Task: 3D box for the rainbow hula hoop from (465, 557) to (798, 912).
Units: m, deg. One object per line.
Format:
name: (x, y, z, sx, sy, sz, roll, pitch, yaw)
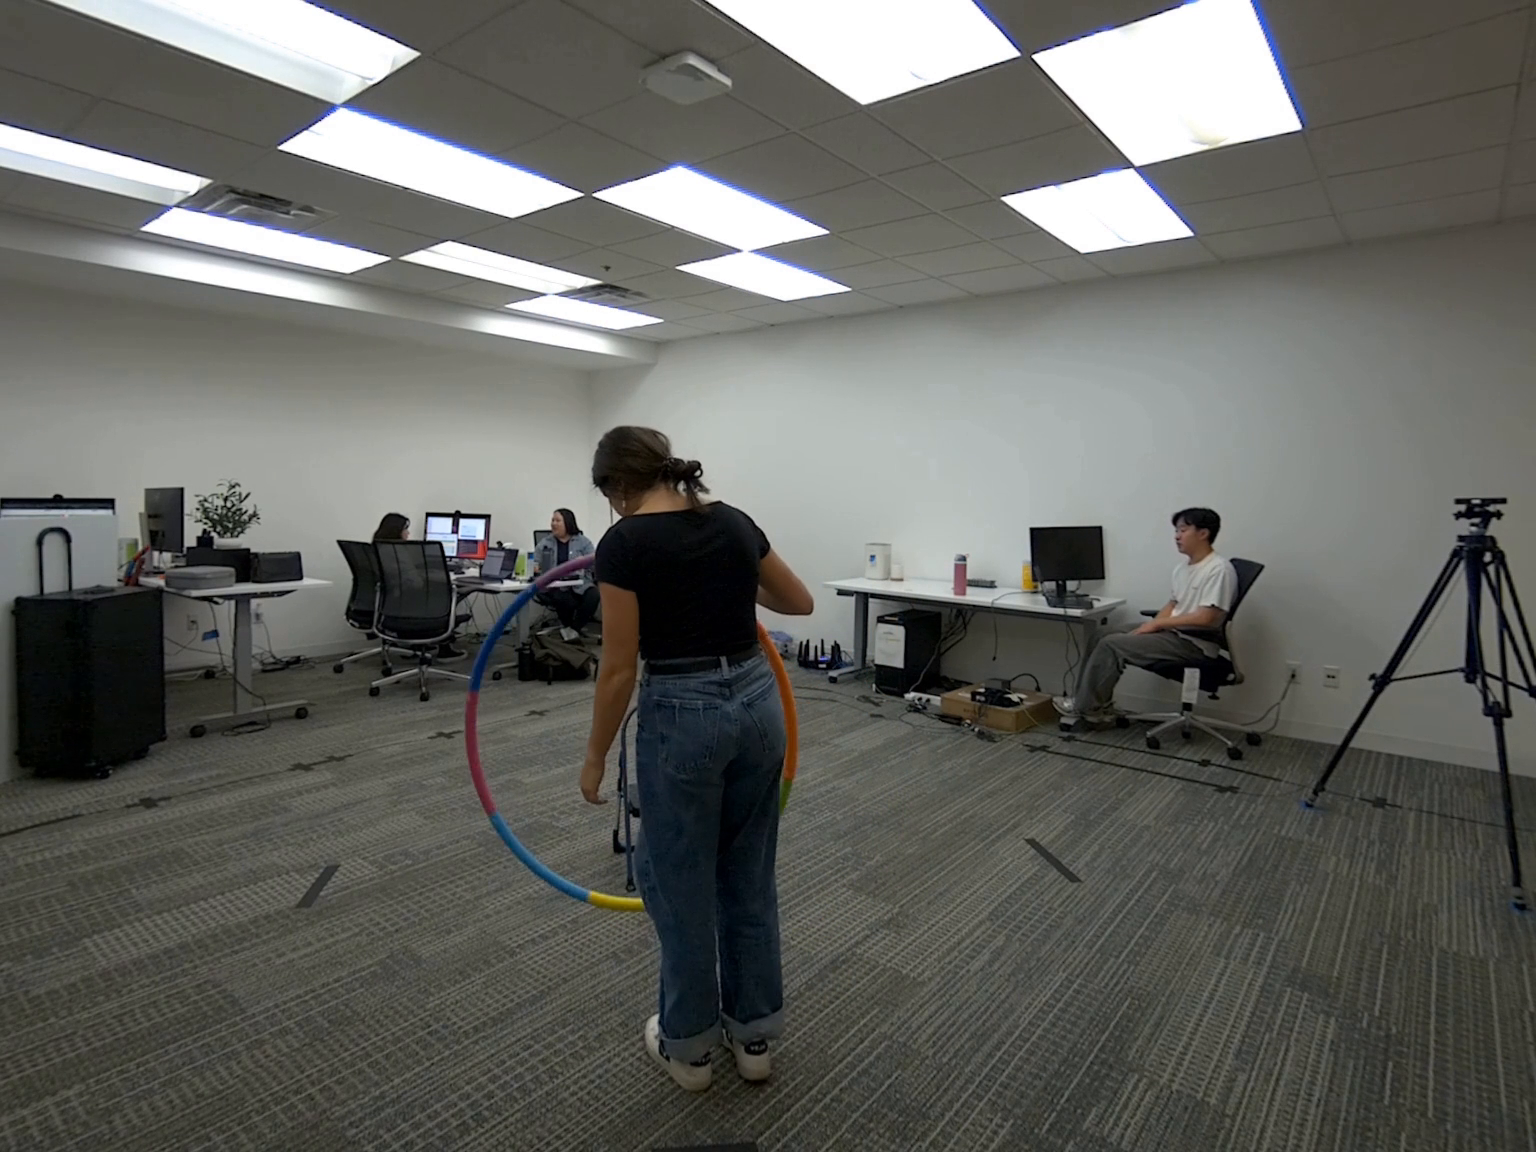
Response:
rainbow hula hoop: (-0.392, 0.426, 2.359, 0.995, 0.978, 0.035, 2, 1, 15)
